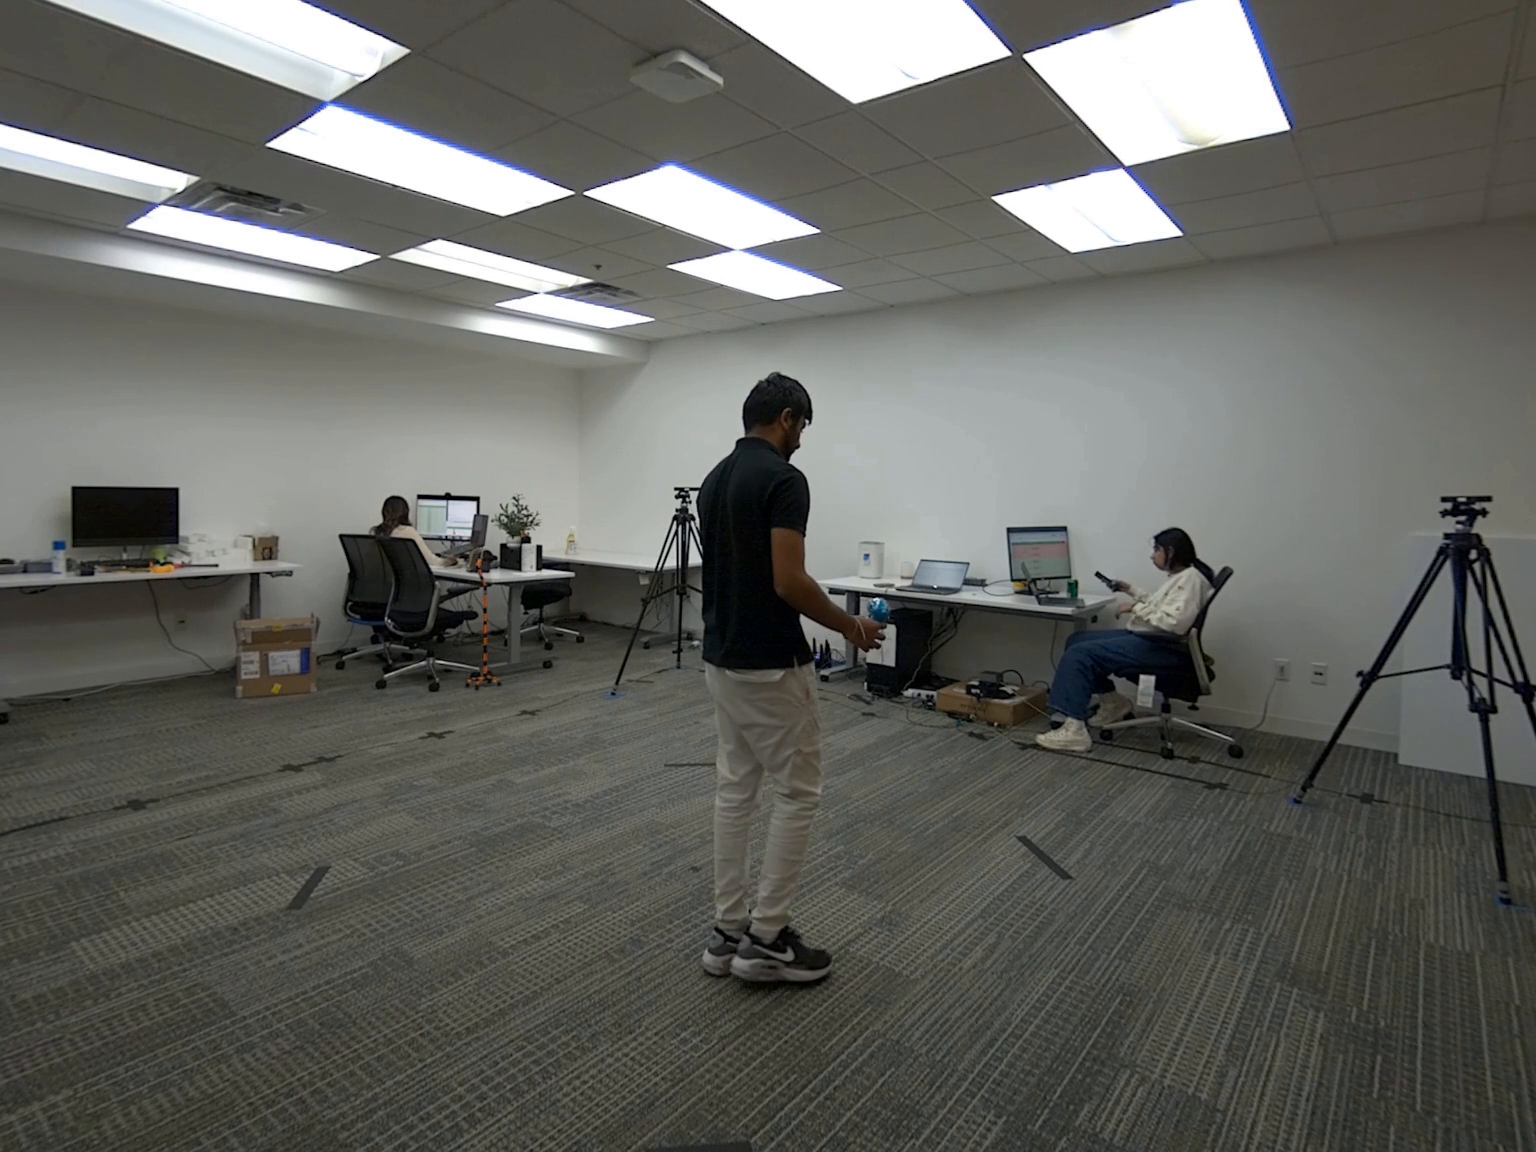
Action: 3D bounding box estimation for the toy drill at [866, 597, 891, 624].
[{"bbox_3d":[0.307,0.134,2.559,0.060,0.145,0.173,19,7,-12],"label":"toy drill"}]
